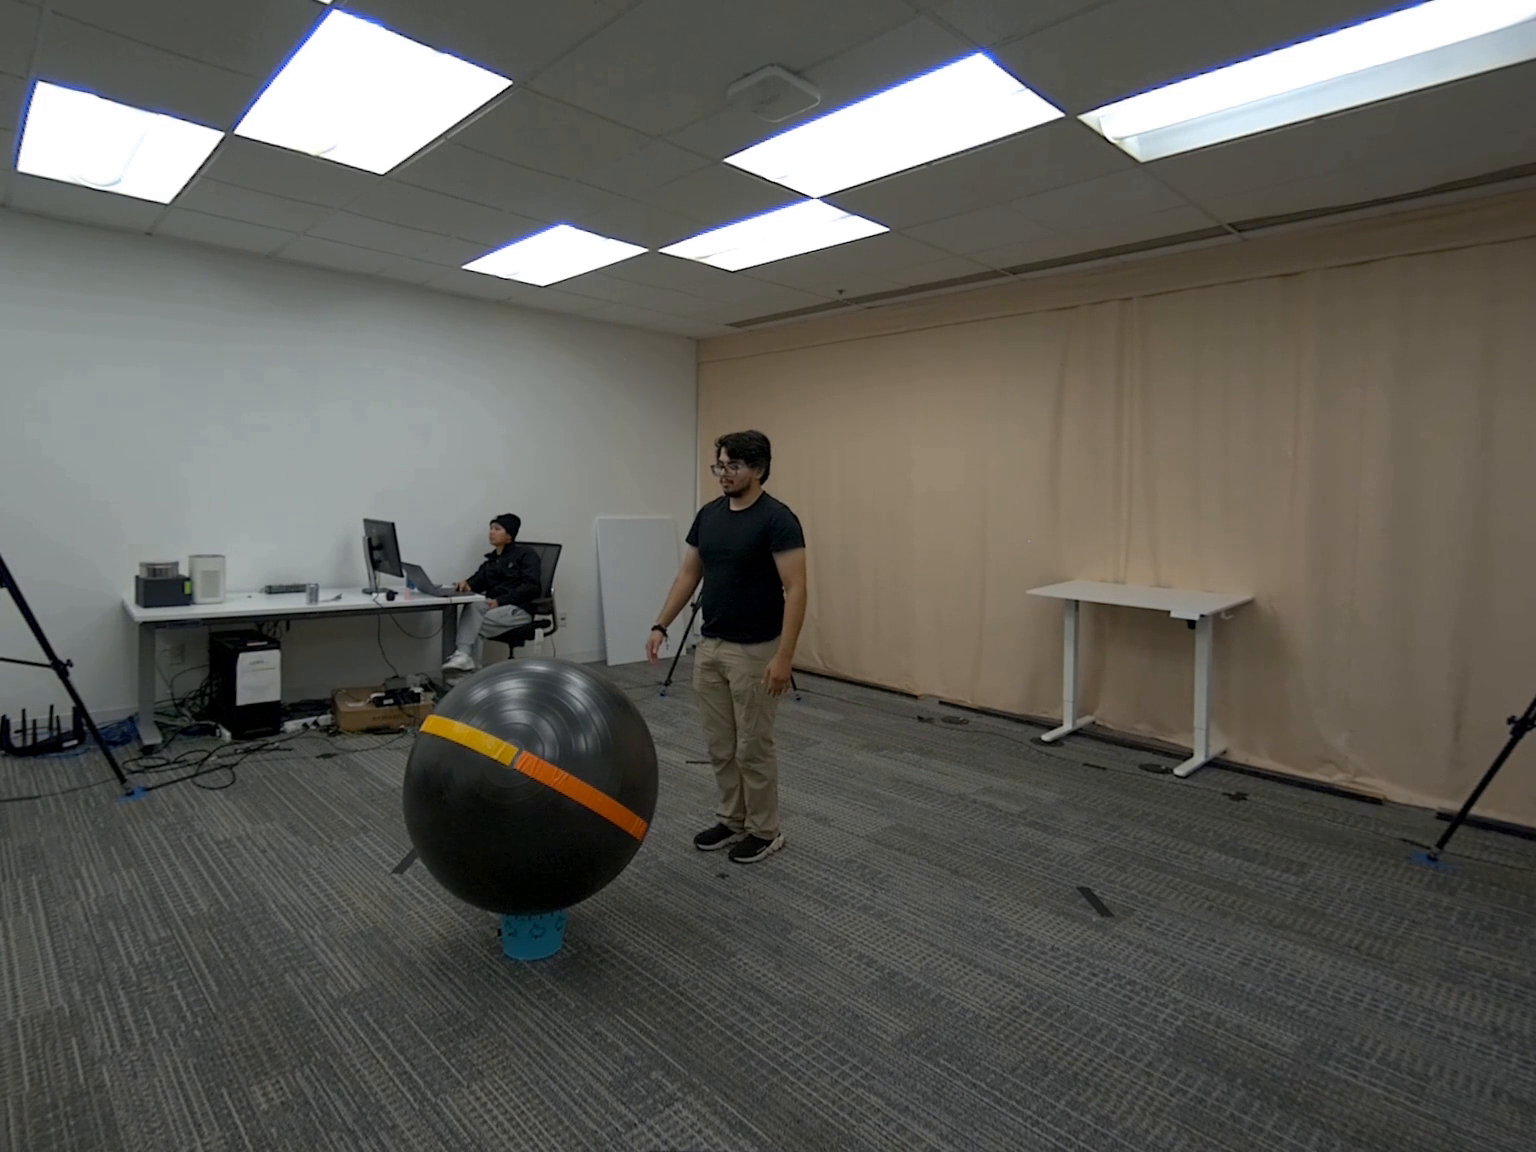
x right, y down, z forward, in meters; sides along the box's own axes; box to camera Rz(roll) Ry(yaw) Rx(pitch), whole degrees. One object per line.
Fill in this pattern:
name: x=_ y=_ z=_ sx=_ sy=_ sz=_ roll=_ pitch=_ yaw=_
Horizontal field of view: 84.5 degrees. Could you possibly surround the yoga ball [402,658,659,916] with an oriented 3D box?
yoga ball: x=-0.720 y=0.637 z=2.581 sx=0.757 sy=0.756 sz=0.761 roll=1 pitch=4 yaw=-1
